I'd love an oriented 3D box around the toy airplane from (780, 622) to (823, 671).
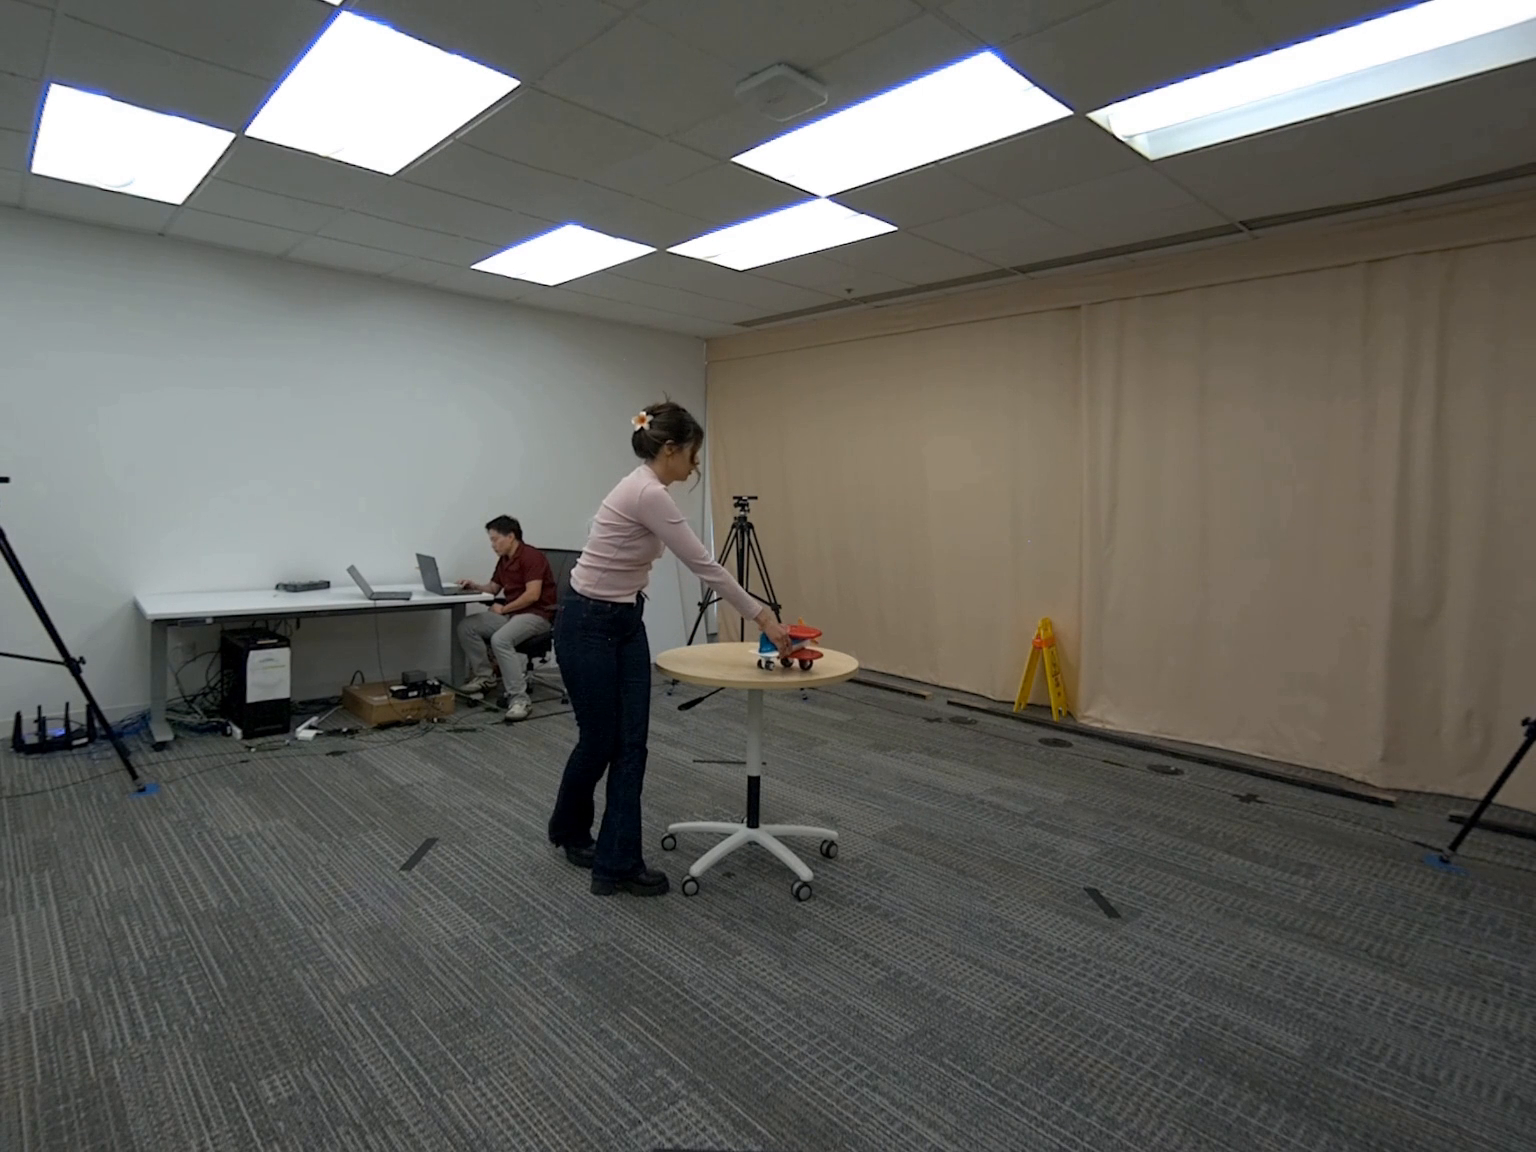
[{"bbox_3d":[0.065,0.249,2.947,0.254,0.157,0.256,5,-2,12],"label":"toy airplane"}]
